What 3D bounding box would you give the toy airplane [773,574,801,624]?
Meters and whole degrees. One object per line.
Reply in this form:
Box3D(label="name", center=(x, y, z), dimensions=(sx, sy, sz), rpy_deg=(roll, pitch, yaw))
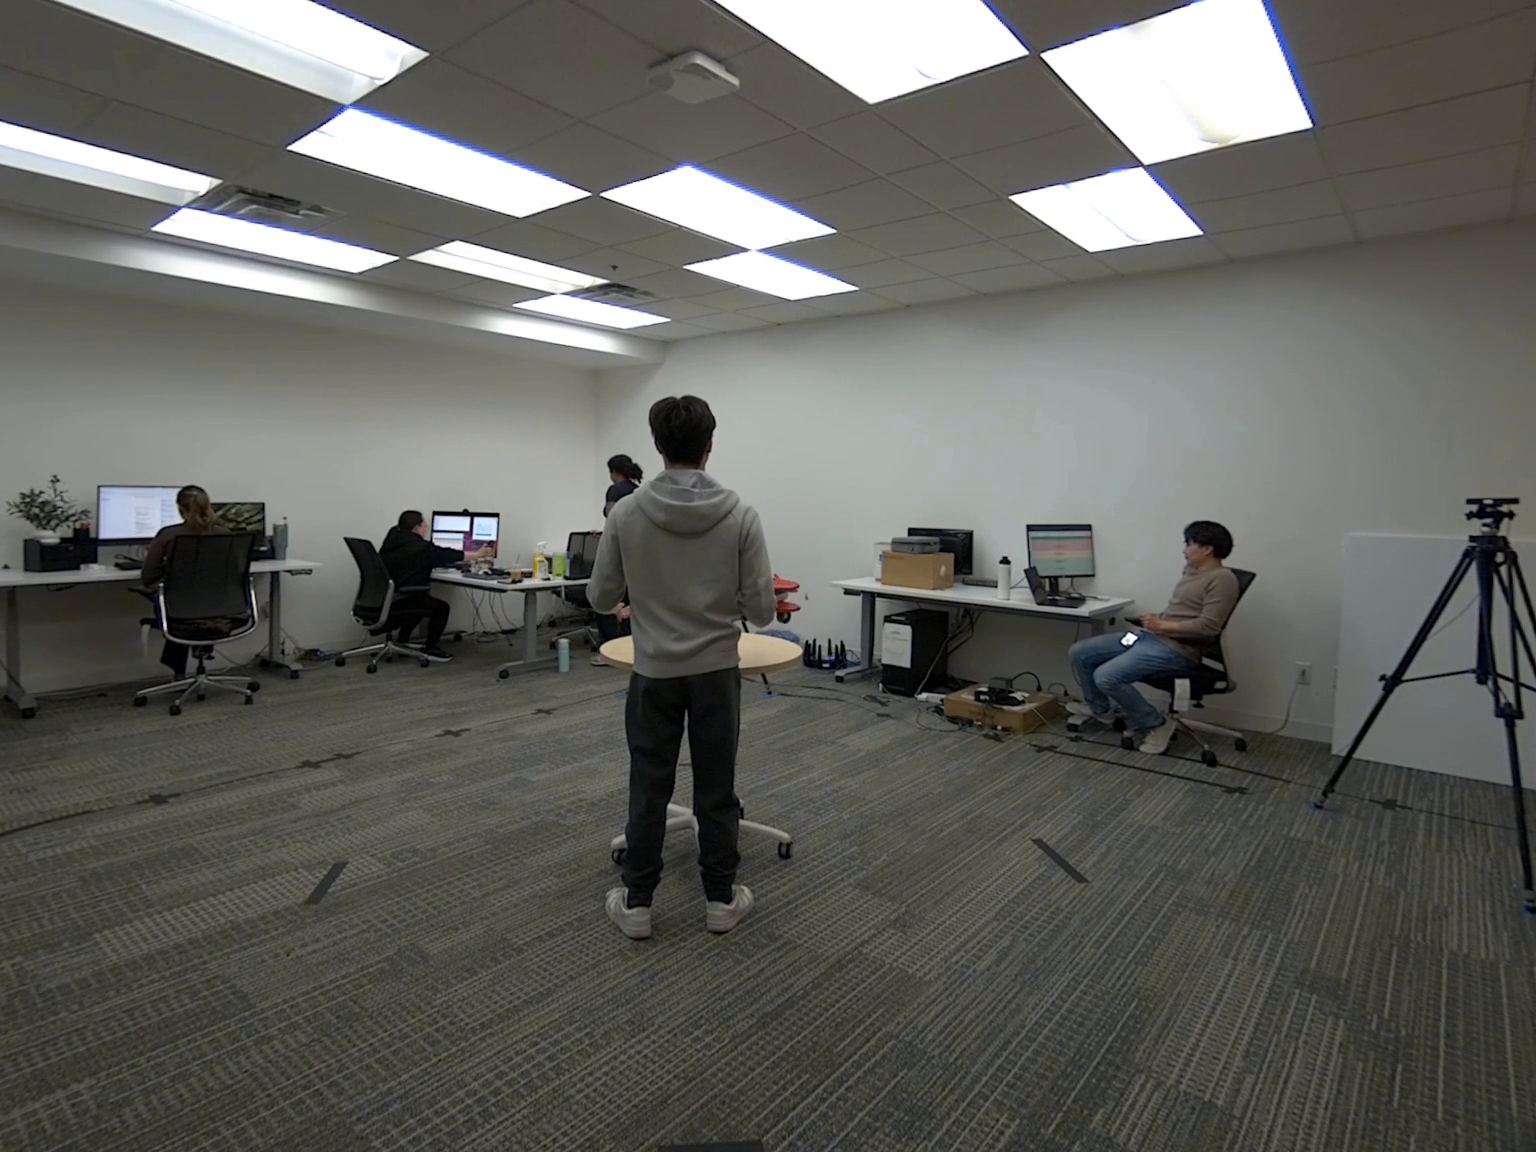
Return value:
Box3D(label="toy airplane", center=(-0.026, 0.062, 2.977), dimensions=(0.255, 0.156, 0.255), rpy_deg=(6, 1, 12))
